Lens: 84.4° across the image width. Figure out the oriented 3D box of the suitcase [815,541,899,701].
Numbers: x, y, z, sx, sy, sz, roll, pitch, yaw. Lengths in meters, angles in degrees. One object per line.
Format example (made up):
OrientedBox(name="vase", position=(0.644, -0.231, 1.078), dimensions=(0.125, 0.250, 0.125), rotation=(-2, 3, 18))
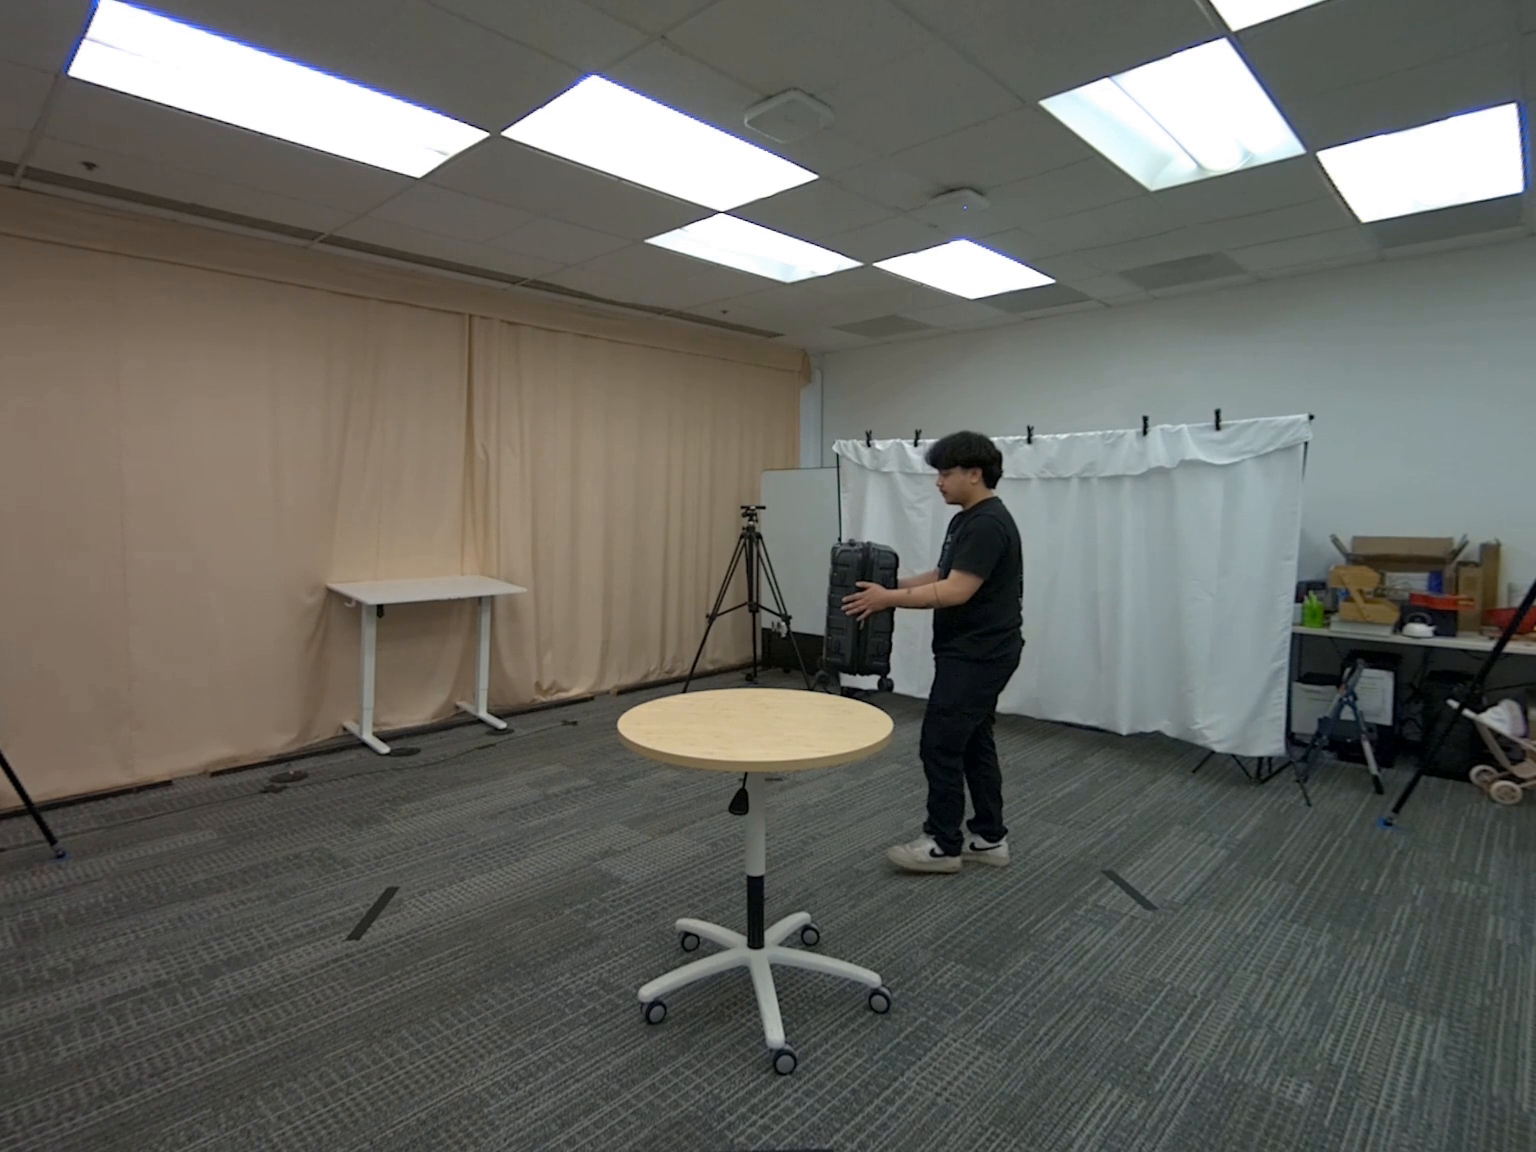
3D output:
OrientedBox(name="suitcase", position=(0.374, 0.138, 3.320), dimensions=(0.251, 0.548, 0.372), rotation=(3, 3, 9))
